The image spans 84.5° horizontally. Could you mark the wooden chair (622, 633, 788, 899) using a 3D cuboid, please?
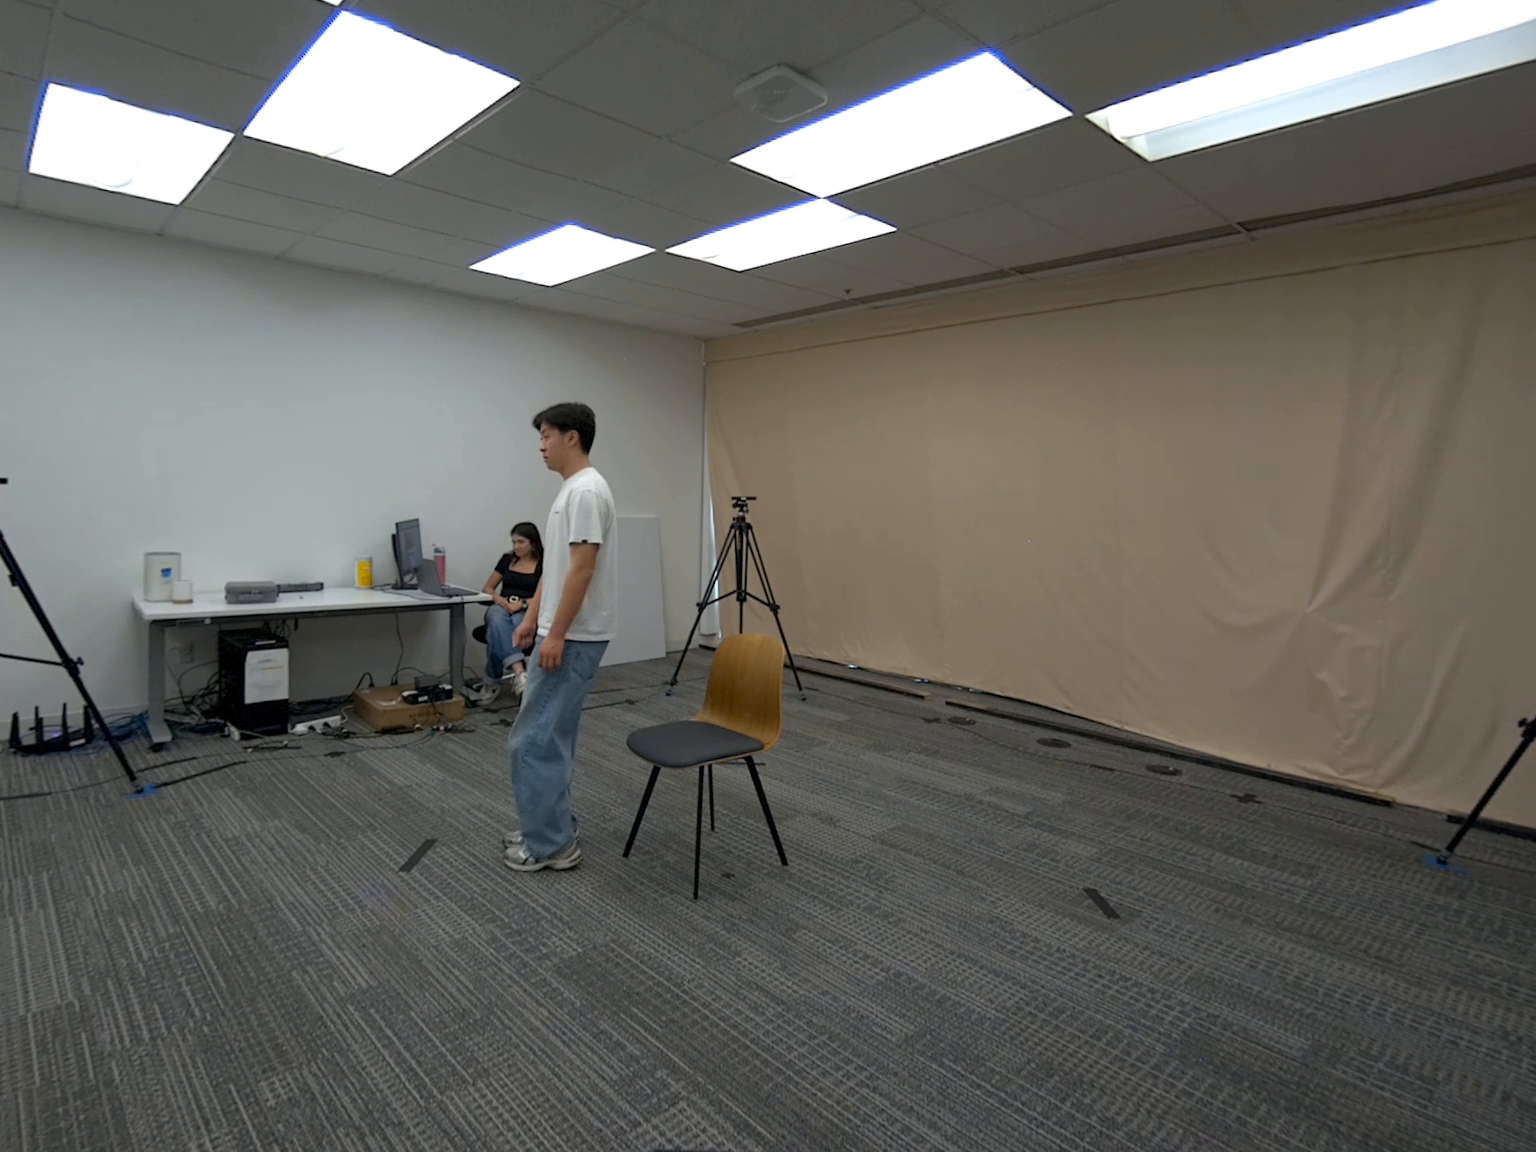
[{"bbox_3d":[-0.244,0.667,3.189,0.510,0.877,0.490,4,1,-42],"label":"wooden chair"}]
